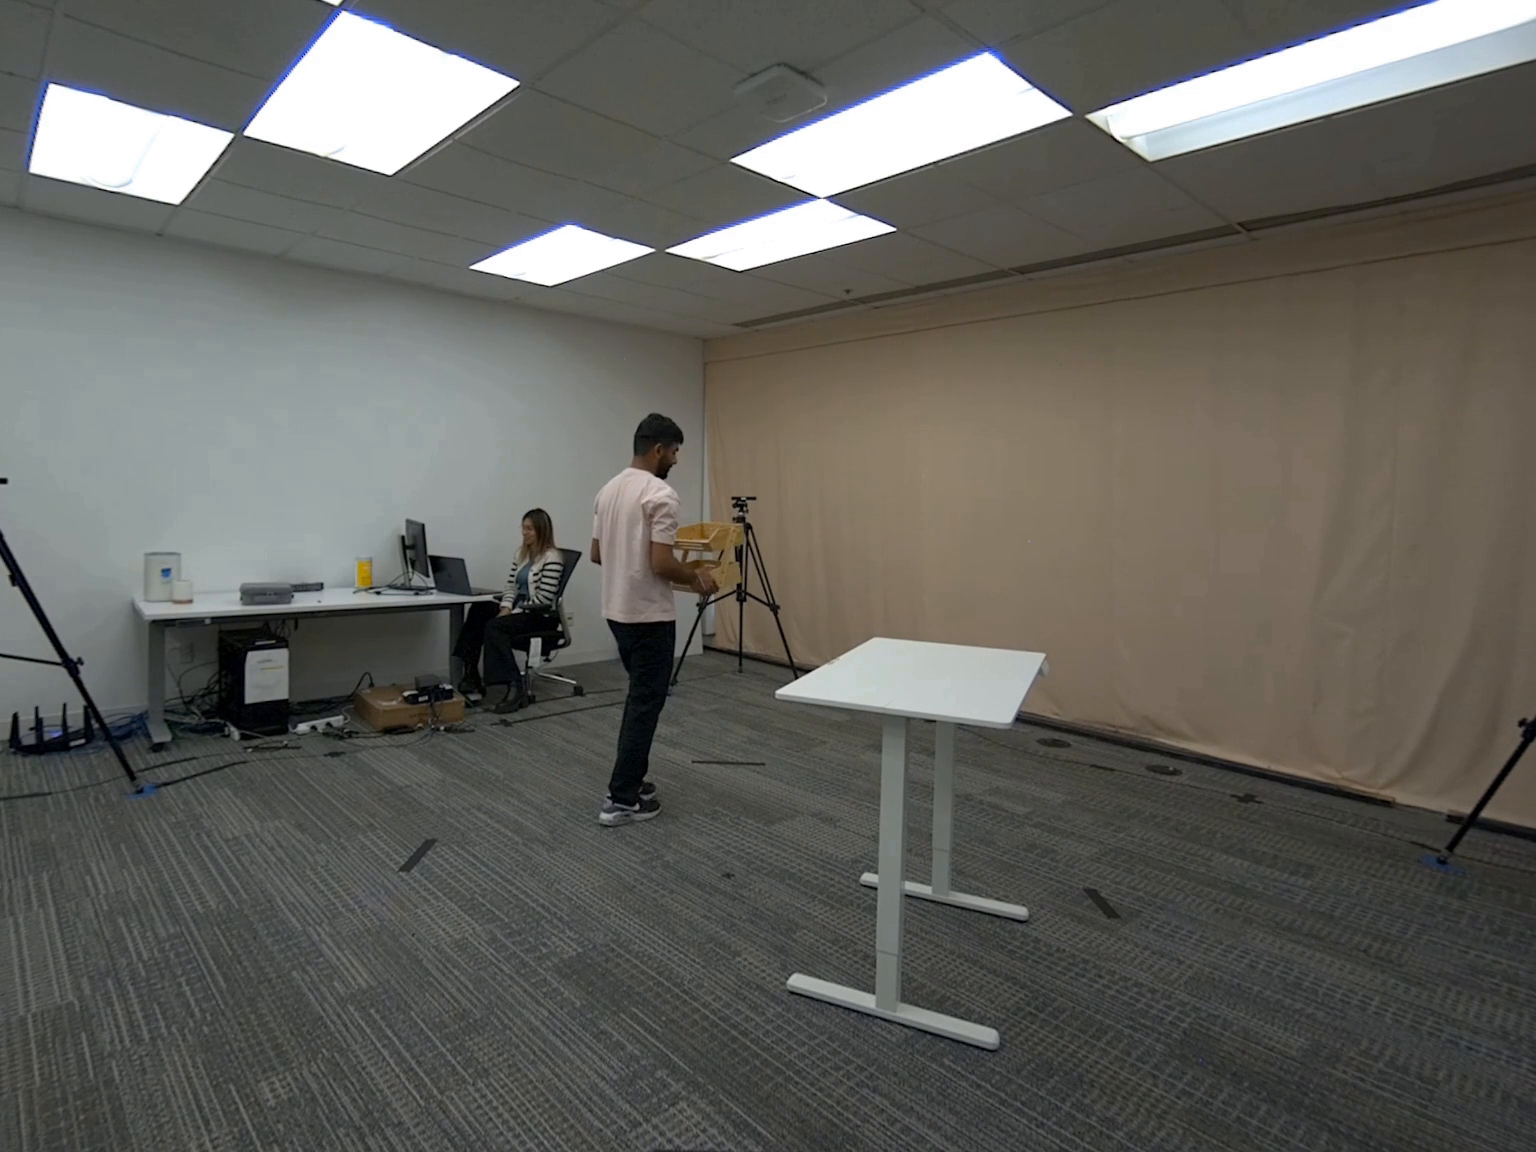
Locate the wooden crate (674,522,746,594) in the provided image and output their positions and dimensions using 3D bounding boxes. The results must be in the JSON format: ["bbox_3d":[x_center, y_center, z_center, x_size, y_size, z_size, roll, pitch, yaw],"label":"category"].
[{"bbox_3d":[-0.325,-0.092,3.835,0.297,0.271,0.333,-15,13,-39],"label":"wooden crate"}]
